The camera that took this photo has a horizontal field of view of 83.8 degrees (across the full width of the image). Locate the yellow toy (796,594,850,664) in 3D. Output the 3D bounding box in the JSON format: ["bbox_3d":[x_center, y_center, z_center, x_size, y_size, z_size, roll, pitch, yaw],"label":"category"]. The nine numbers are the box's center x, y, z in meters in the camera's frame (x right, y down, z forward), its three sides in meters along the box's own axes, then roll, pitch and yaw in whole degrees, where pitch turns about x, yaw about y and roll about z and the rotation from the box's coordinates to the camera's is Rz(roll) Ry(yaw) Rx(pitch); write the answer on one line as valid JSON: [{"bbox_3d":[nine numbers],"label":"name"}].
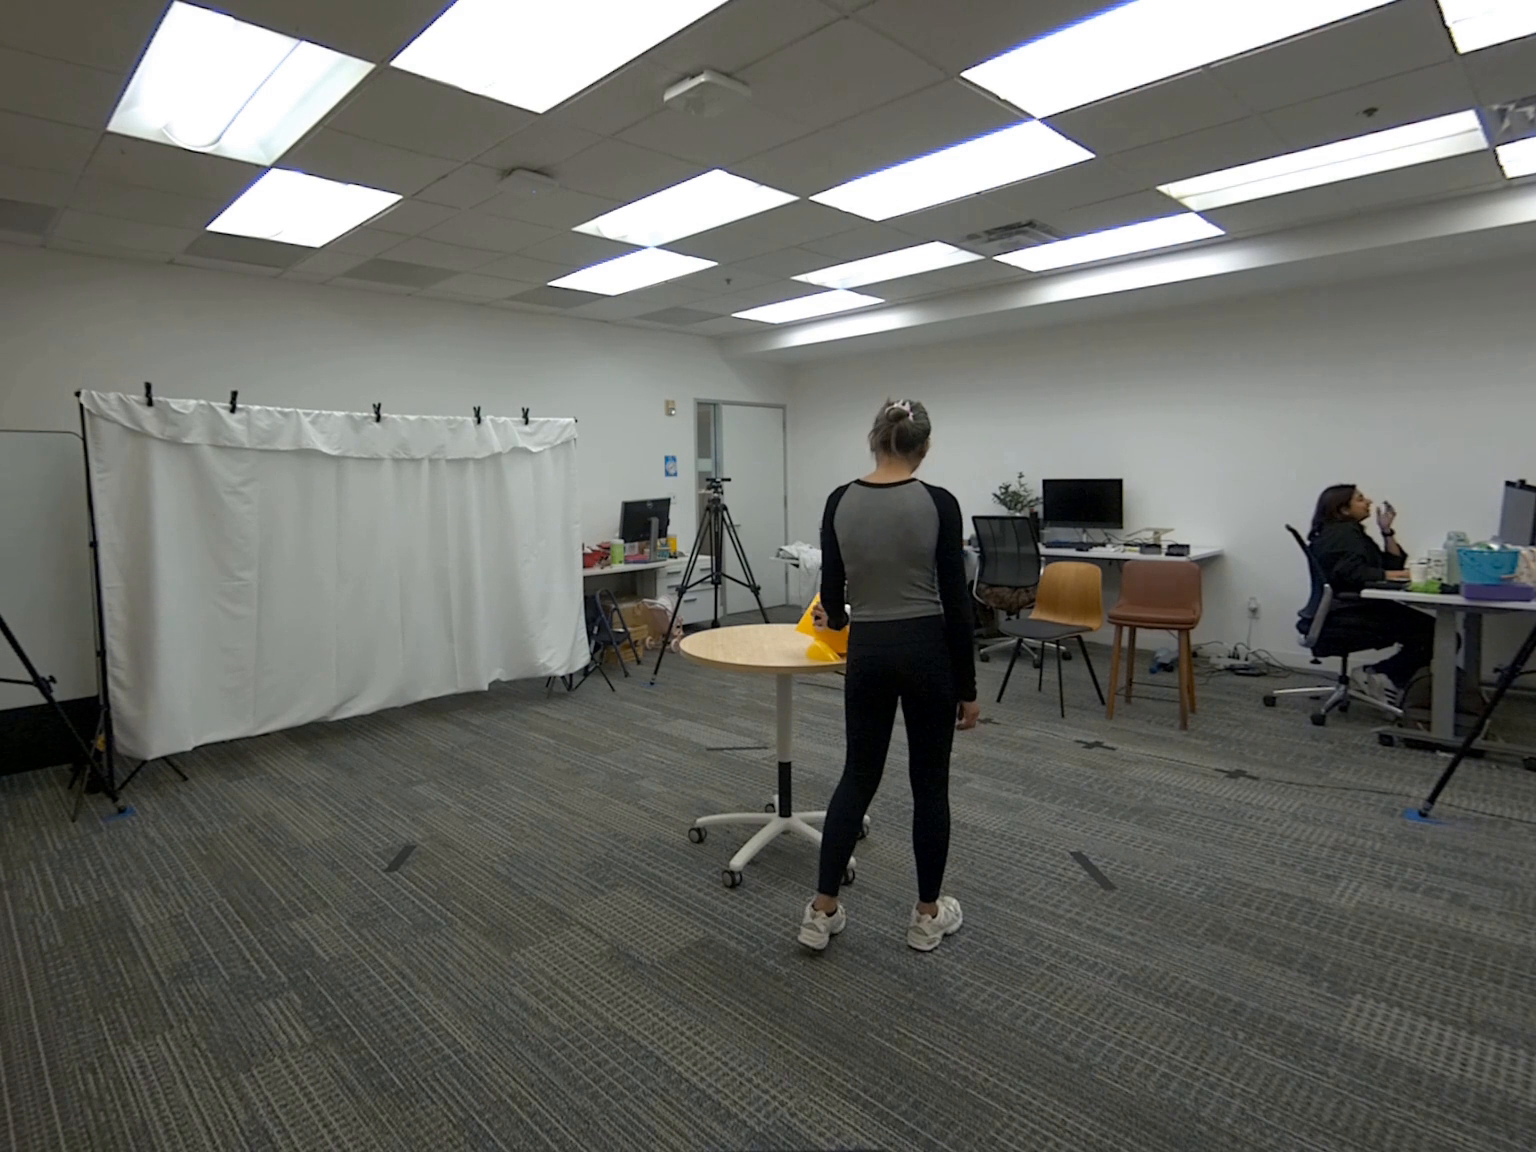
[{"bbox_3d":[0.228,0.155,2.918,0.200,0.229,0.198,-4,7,-28],"label":"yellow toy"}]
